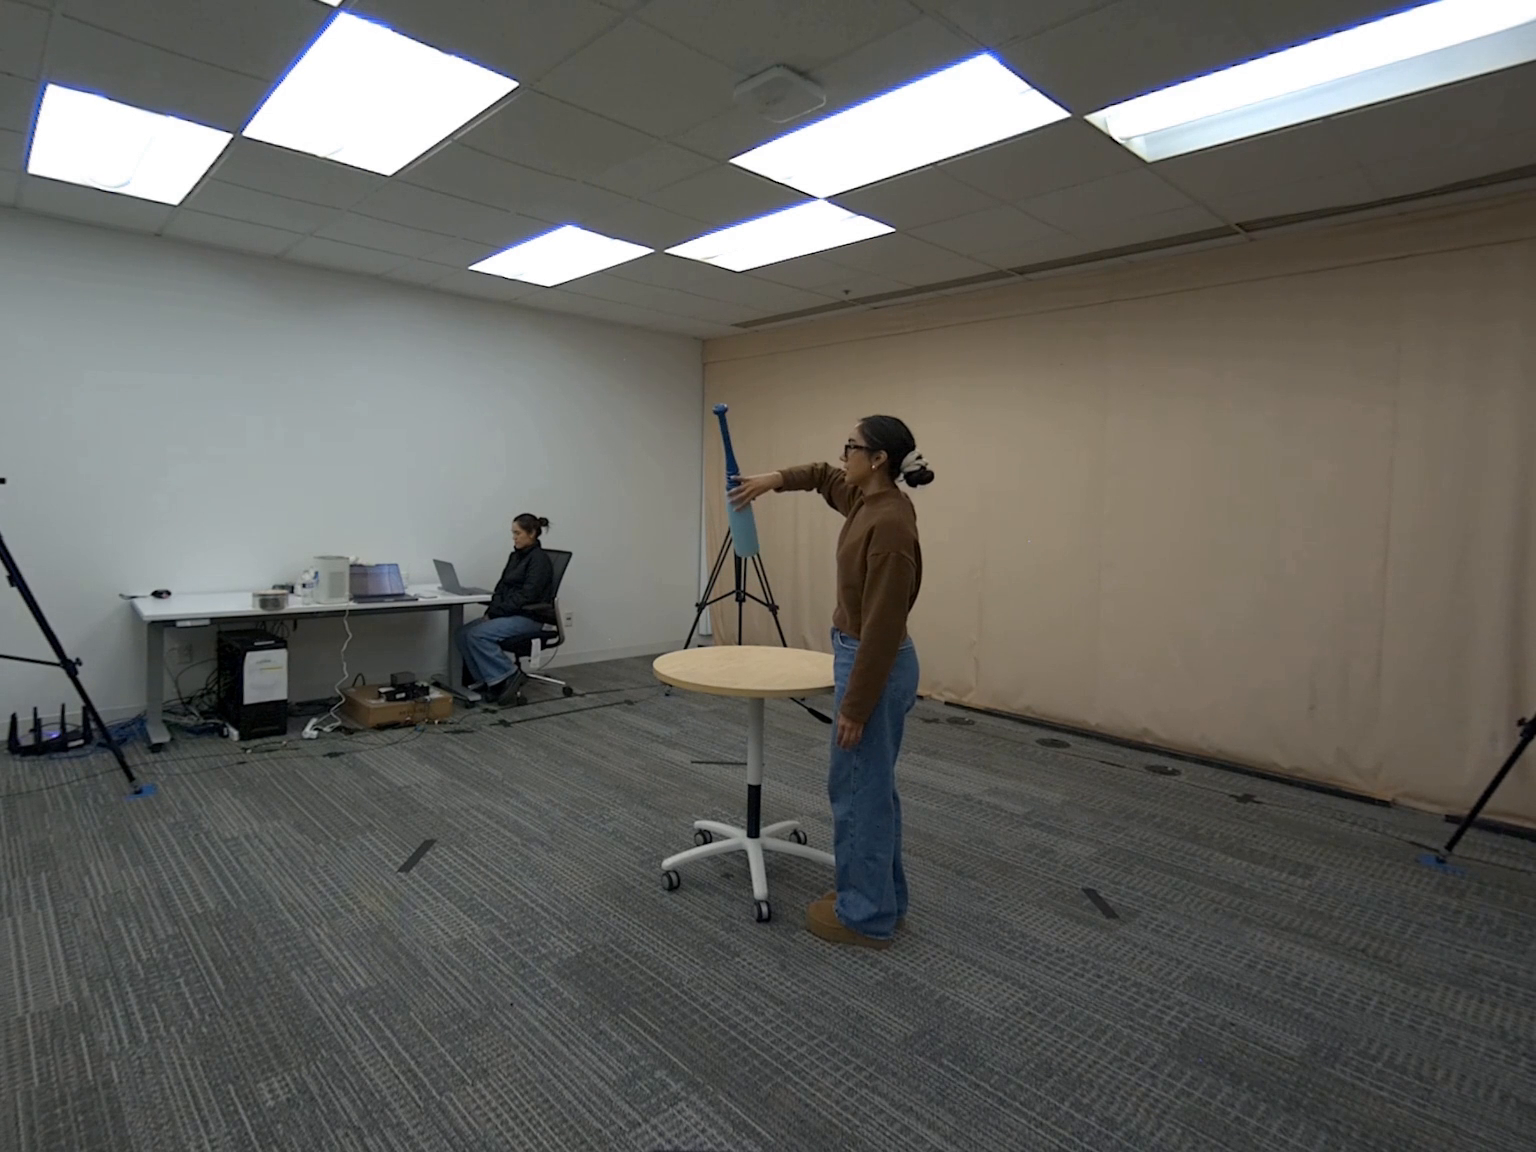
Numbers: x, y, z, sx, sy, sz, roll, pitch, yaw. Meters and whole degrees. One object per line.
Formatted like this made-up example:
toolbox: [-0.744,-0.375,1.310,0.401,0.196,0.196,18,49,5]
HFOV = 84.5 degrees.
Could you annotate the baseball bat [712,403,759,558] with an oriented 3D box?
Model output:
baseball bat: [-0.113,-0.313,2.804,0.089,0.533,0.090,-8,24,2]
